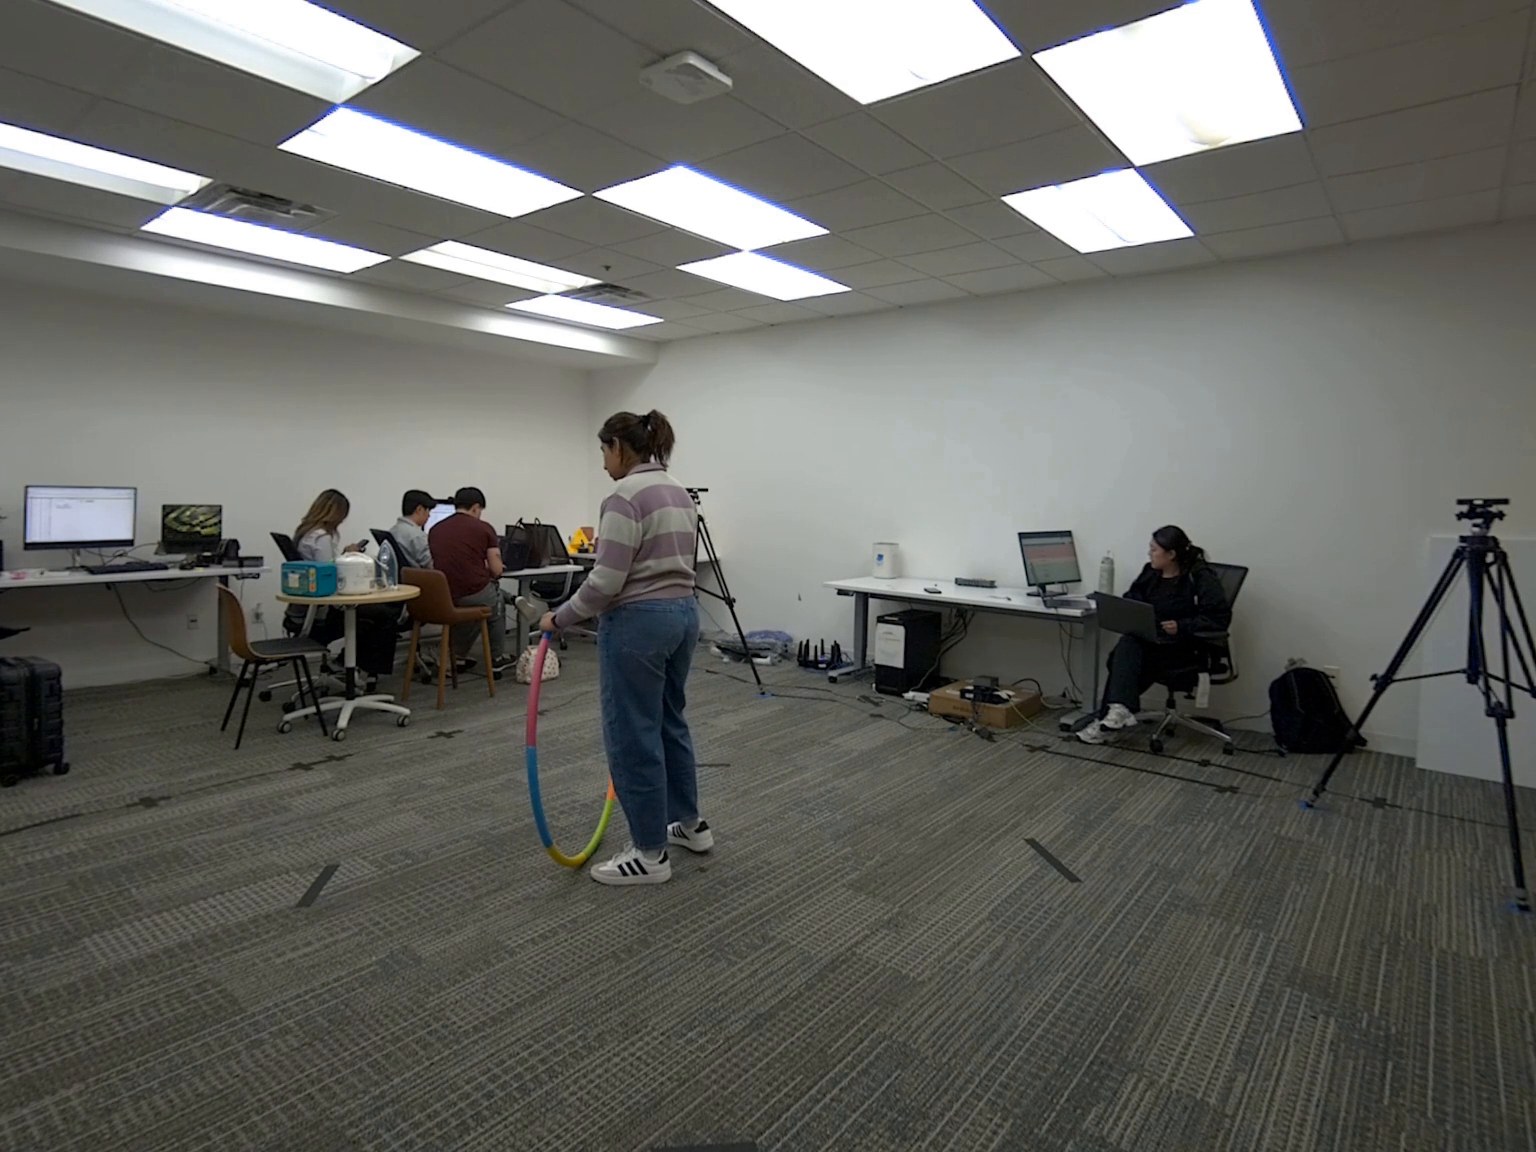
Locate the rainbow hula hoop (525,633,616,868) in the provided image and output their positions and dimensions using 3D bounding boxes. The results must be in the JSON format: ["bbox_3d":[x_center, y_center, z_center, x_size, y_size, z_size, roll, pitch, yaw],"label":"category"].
[{"bbox_3d":[-0.719,0.571,3.197,0.052,0.983,0.980,-5,3,6],"label":"rainbow hula hoop"}]
